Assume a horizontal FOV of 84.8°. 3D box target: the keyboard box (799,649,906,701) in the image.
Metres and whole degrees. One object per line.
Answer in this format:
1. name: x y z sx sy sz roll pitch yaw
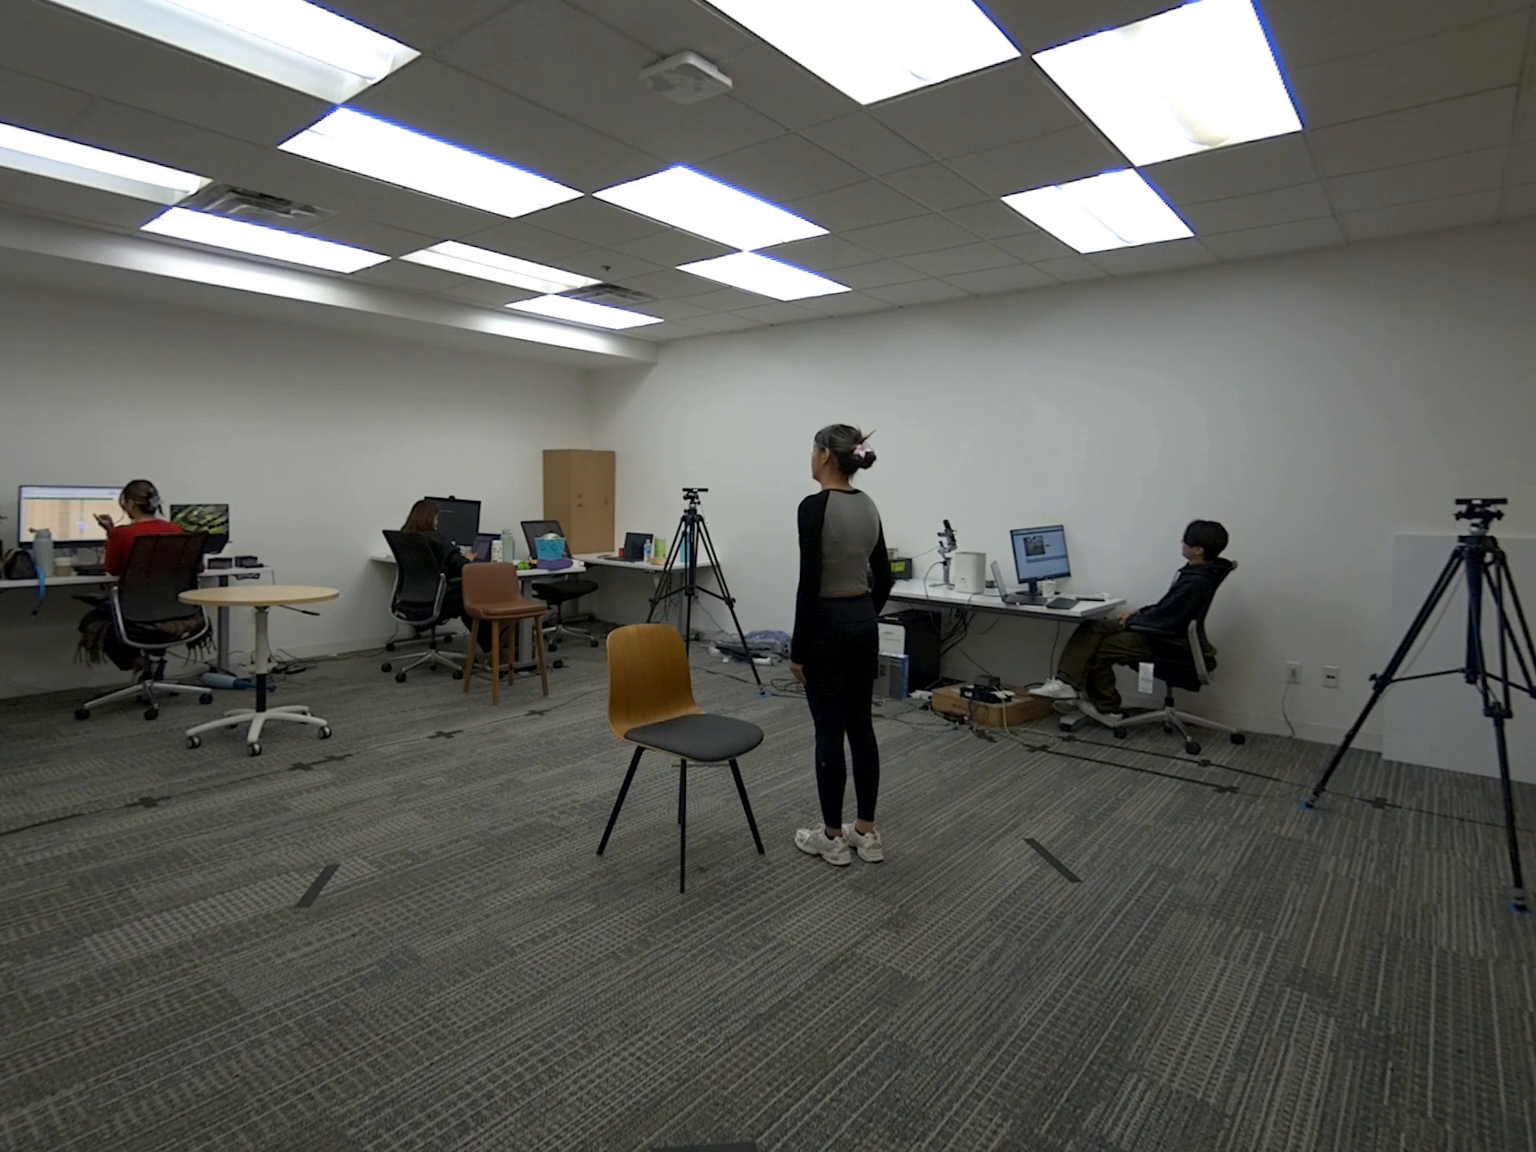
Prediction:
1. keyboard box: 0.342 0.381 3.475 0.450 0.175 0.057 6 6 31
